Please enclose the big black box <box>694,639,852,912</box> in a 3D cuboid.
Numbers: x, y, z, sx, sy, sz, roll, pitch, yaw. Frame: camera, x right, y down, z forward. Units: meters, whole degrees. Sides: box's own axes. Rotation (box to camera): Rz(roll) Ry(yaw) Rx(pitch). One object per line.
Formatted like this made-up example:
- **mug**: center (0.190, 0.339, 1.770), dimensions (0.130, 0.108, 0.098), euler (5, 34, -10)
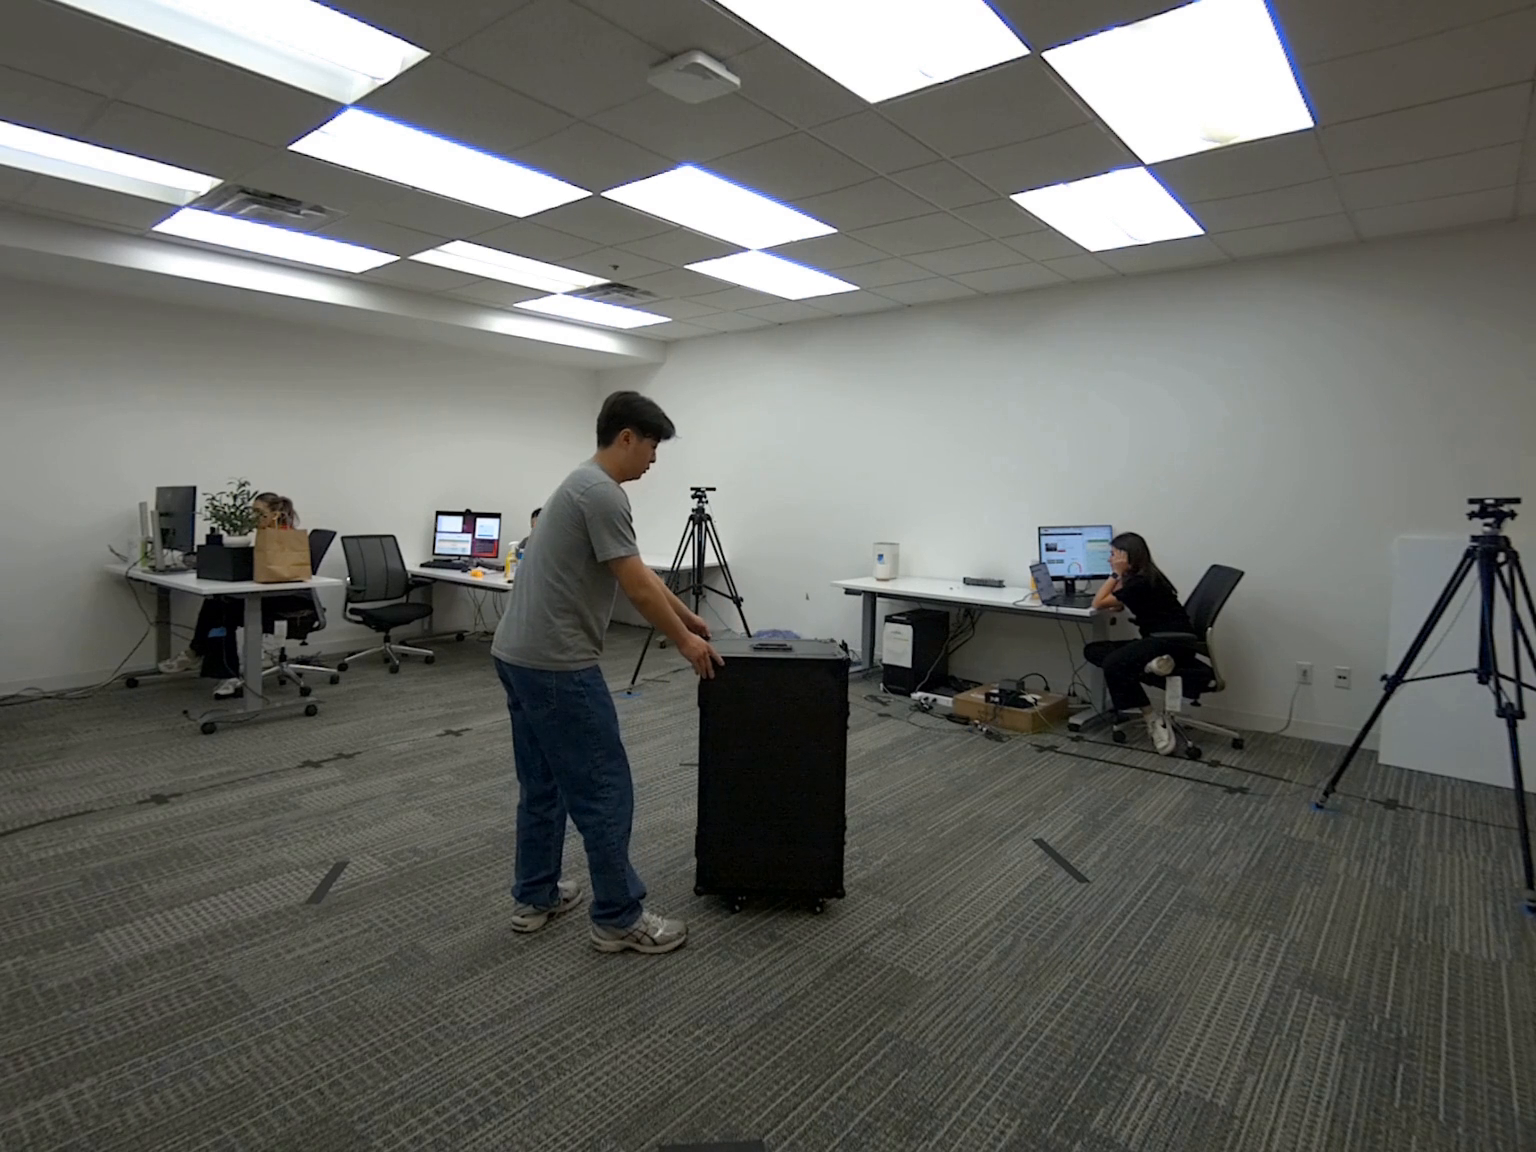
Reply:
- **big black box**: center (-0.013, 0.664, 2.921), dimensions (0.522, 0.860, 0.397), euler (1, 2, 0)
